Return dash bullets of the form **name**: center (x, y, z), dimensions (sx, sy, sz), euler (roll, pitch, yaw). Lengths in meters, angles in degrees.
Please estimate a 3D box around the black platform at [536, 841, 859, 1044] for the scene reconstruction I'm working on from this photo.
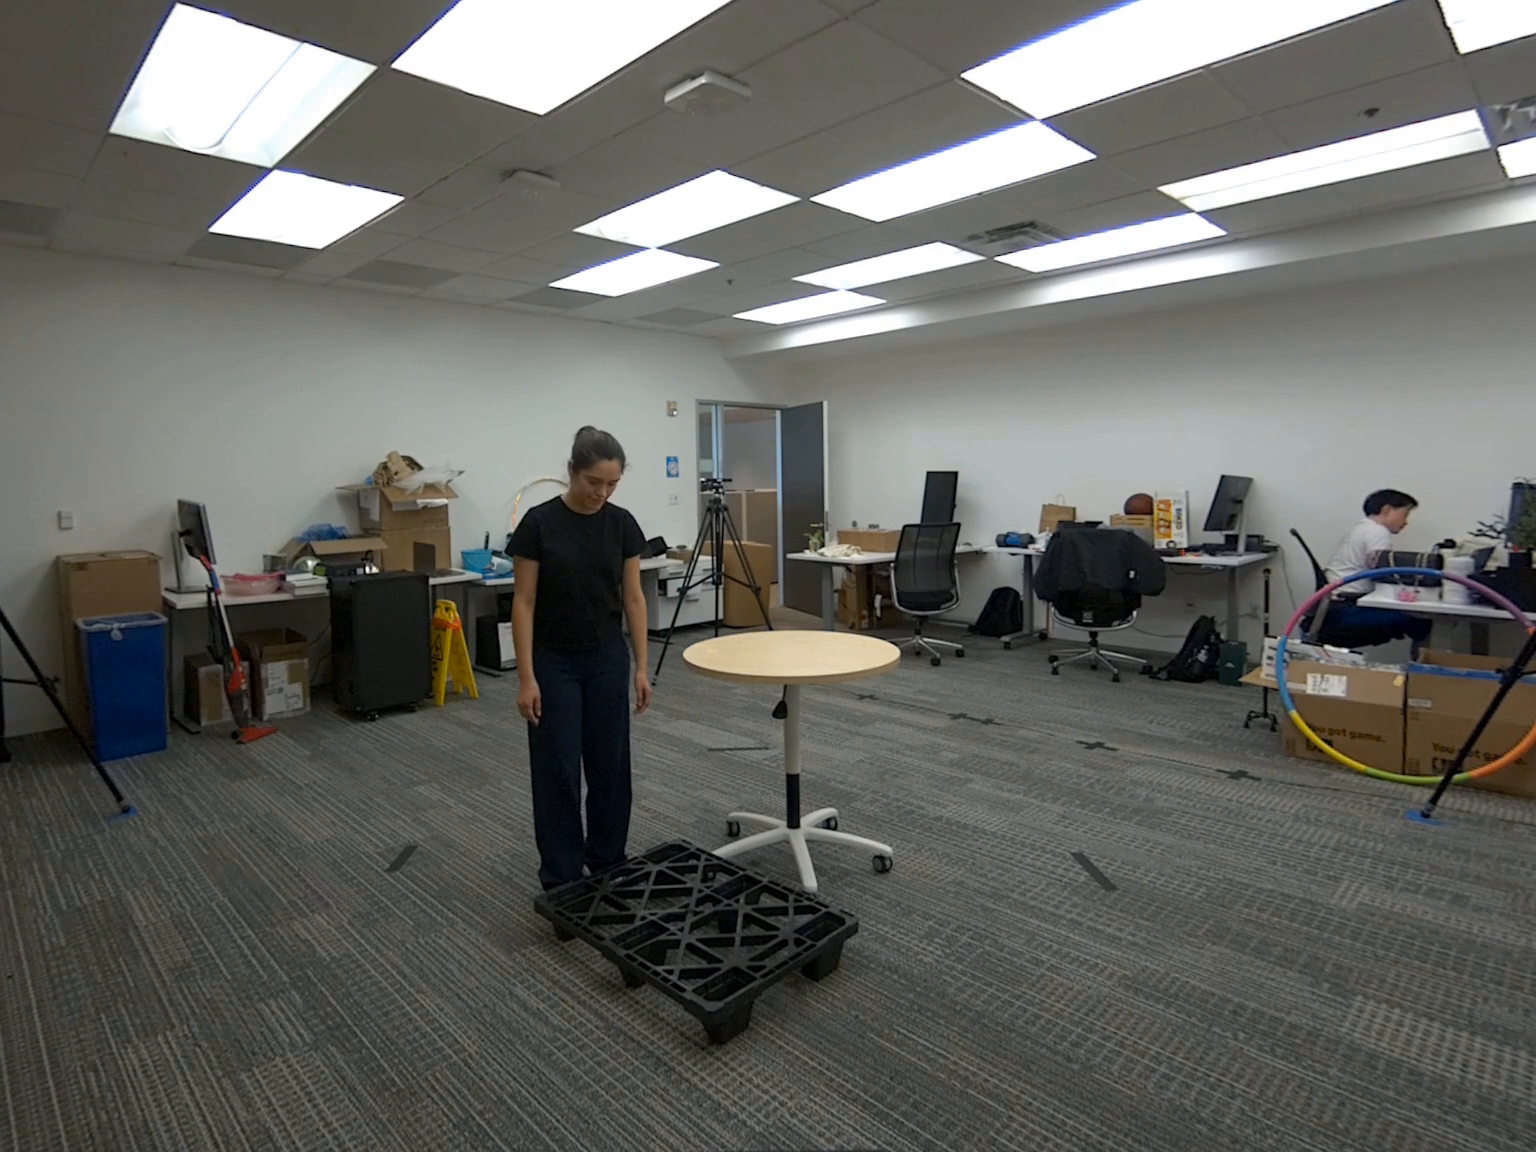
- **black platform**: center (-0.221, 1.049, 2.543), dimensions (0.831, 0.143, 0.589), euler (6, 9, 44)
